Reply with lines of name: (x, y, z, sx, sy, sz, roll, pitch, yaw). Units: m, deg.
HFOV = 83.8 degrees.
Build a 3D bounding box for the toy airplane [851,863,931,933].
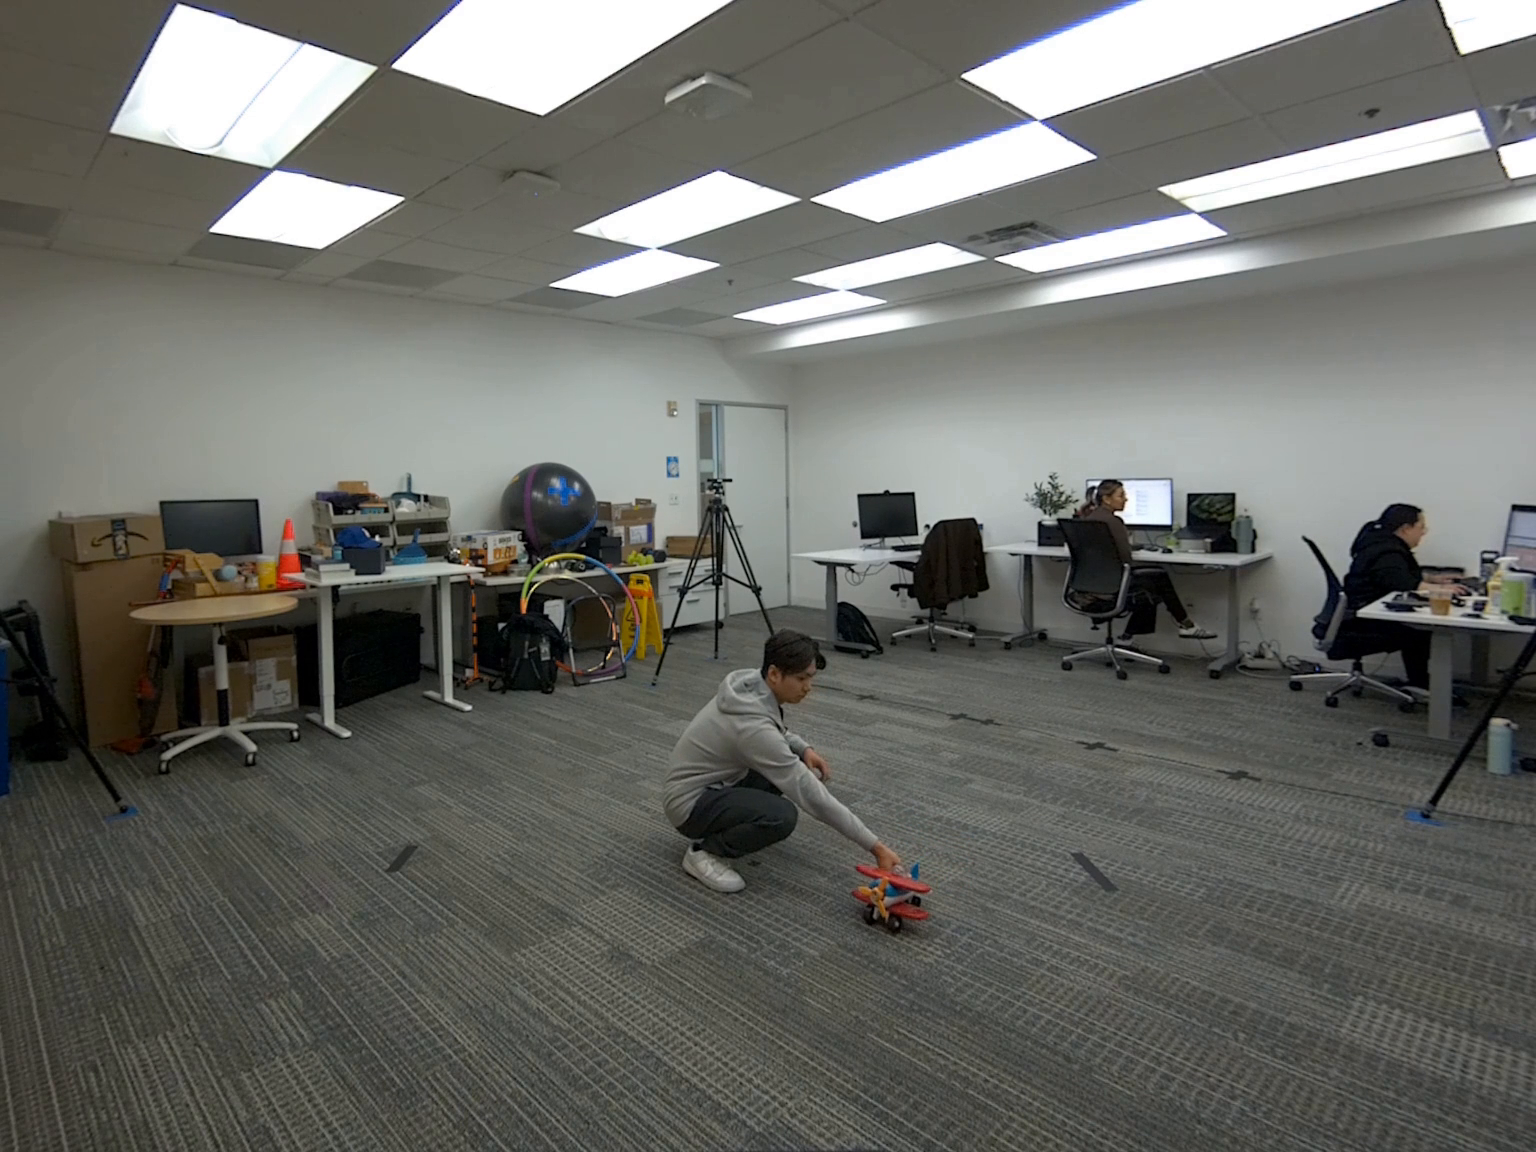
toy airplane: (0.400, 1.011, 2.720, 0.255, 0.155, 0.257, -1, 7, 14)
